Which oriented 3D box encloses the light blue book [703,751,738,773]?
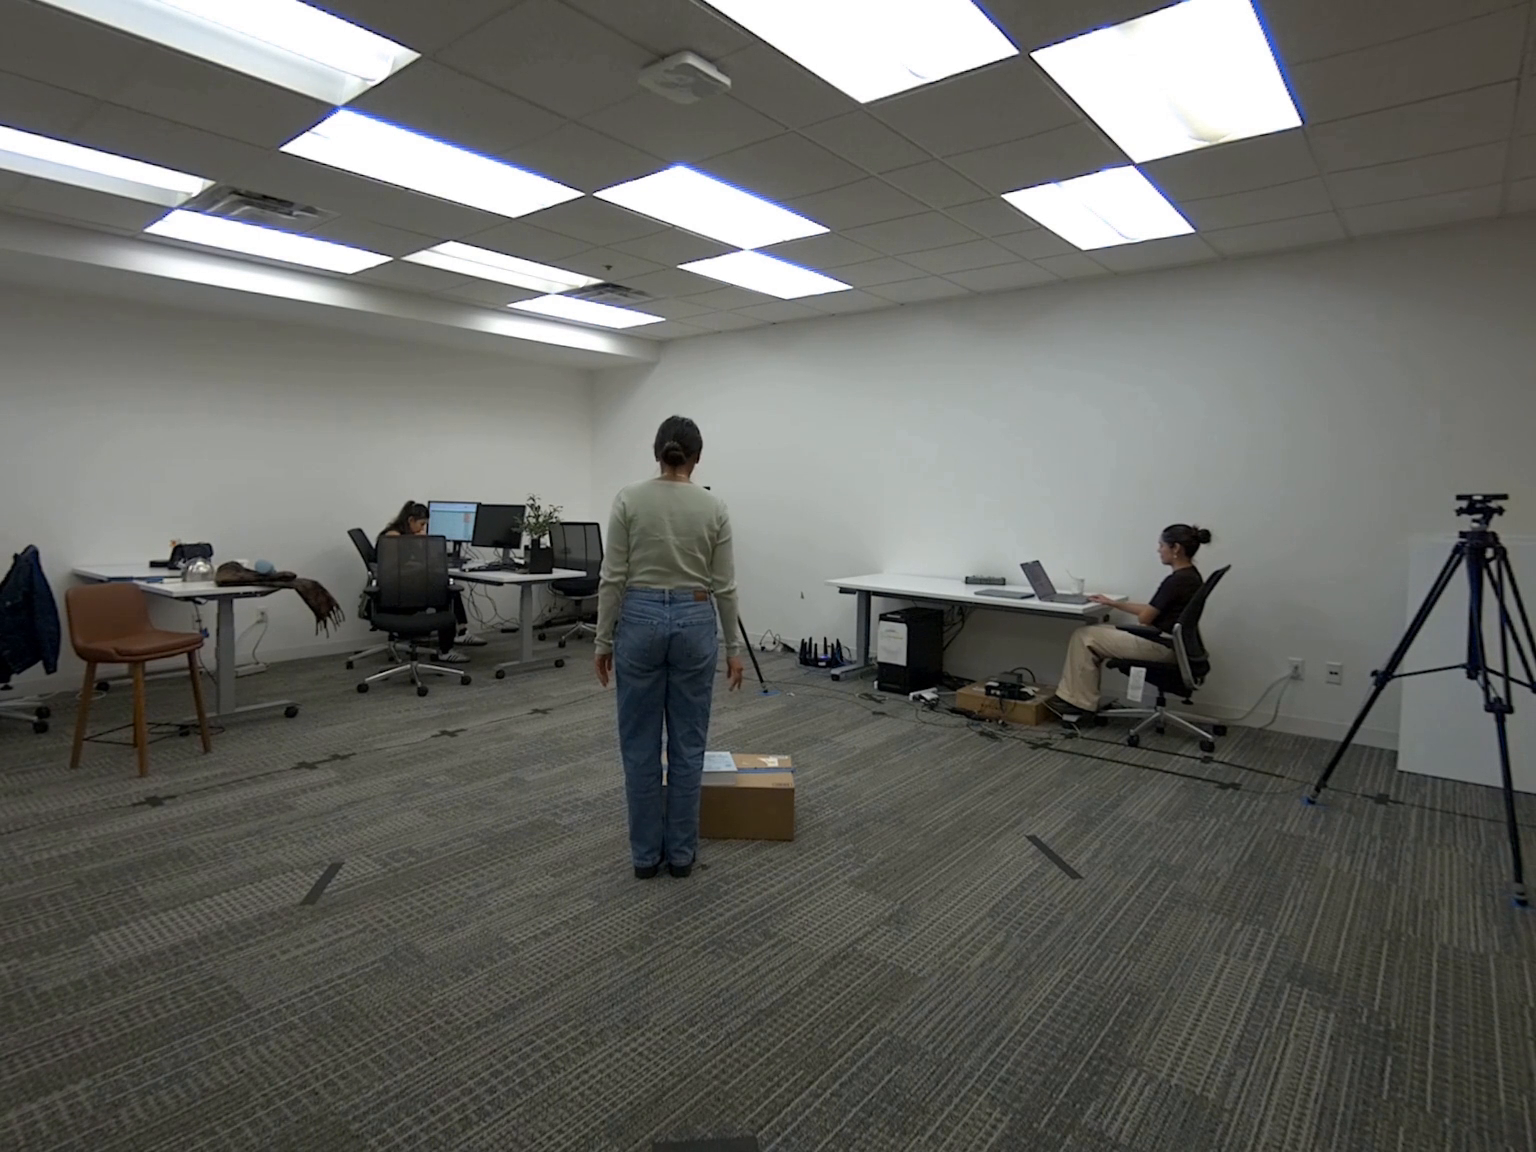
[{"bbox_3d":[-0.245,0.785,3.501,0.190,0.059,0.264,1,5,-8],"label":"light blue book"}]
